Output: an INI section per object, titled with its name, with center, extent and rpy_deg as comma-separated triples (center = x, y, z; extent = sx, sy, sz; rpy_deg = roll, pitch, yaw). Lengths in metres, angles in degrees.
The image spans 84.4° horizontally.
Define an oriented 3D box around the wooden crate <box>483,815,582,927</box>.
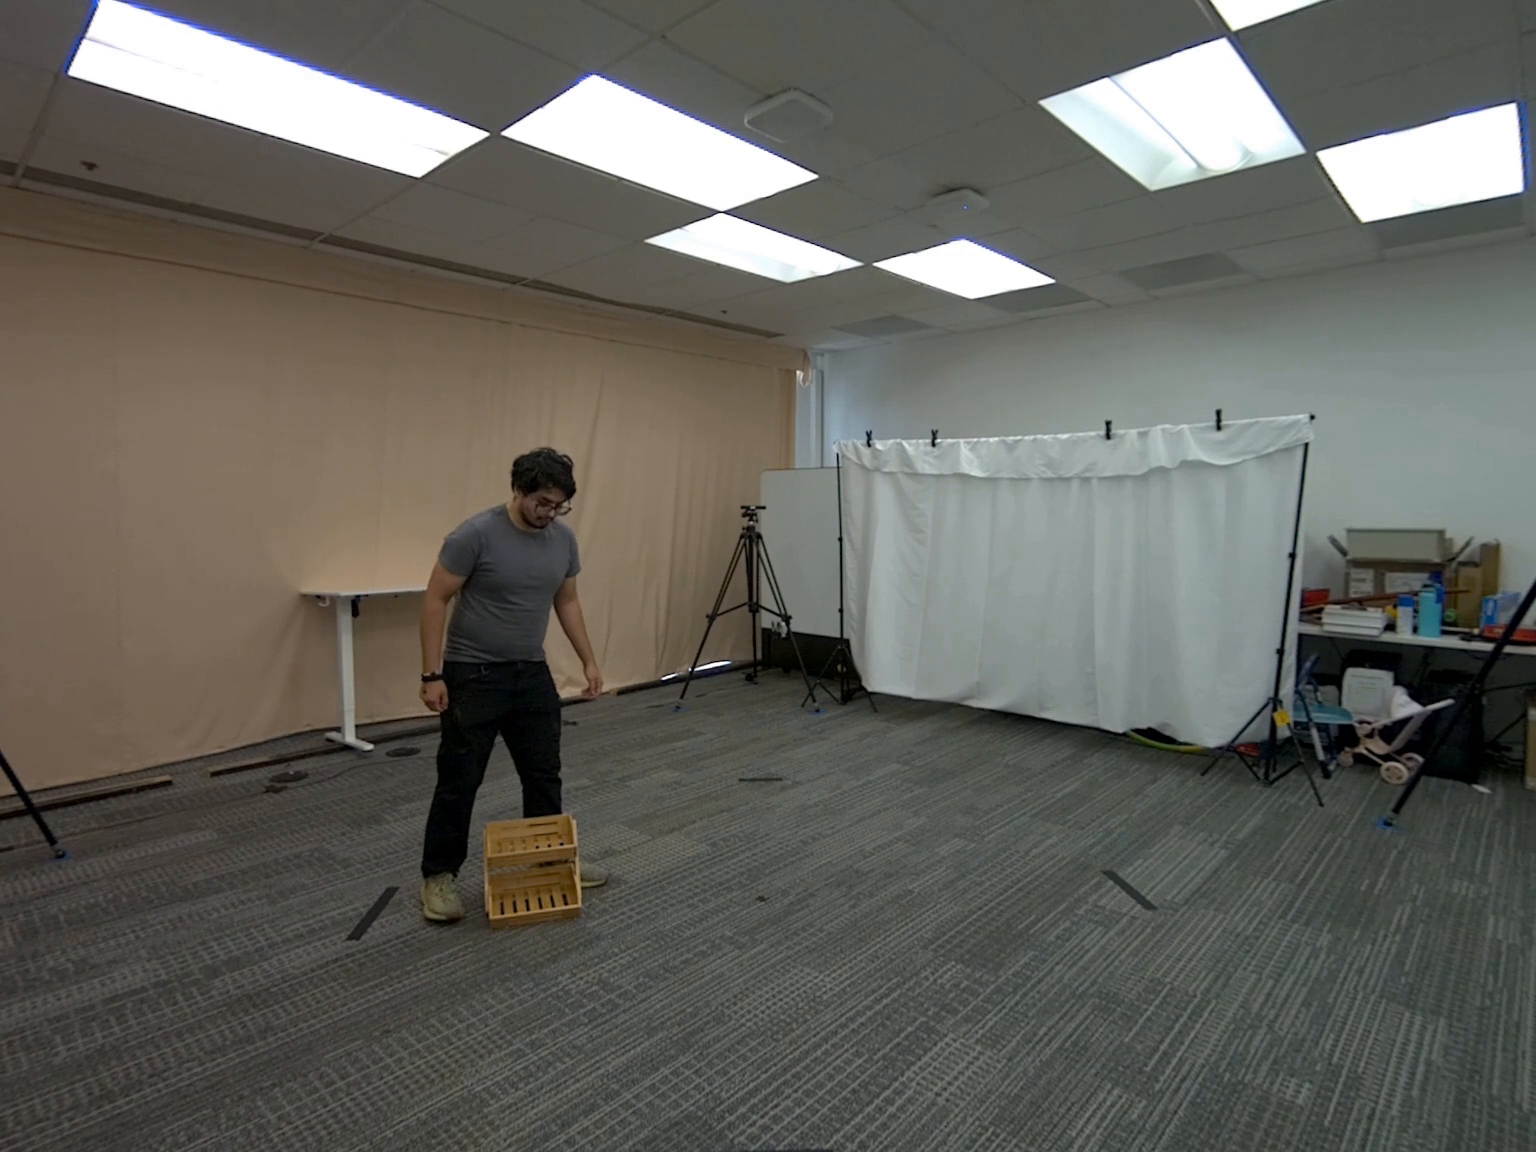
[wooden crate]
center = -0.826, 1.024, 2.928
extent = 0.319, 0.273, 0.308
rpy_deg = -2, 3, -17
